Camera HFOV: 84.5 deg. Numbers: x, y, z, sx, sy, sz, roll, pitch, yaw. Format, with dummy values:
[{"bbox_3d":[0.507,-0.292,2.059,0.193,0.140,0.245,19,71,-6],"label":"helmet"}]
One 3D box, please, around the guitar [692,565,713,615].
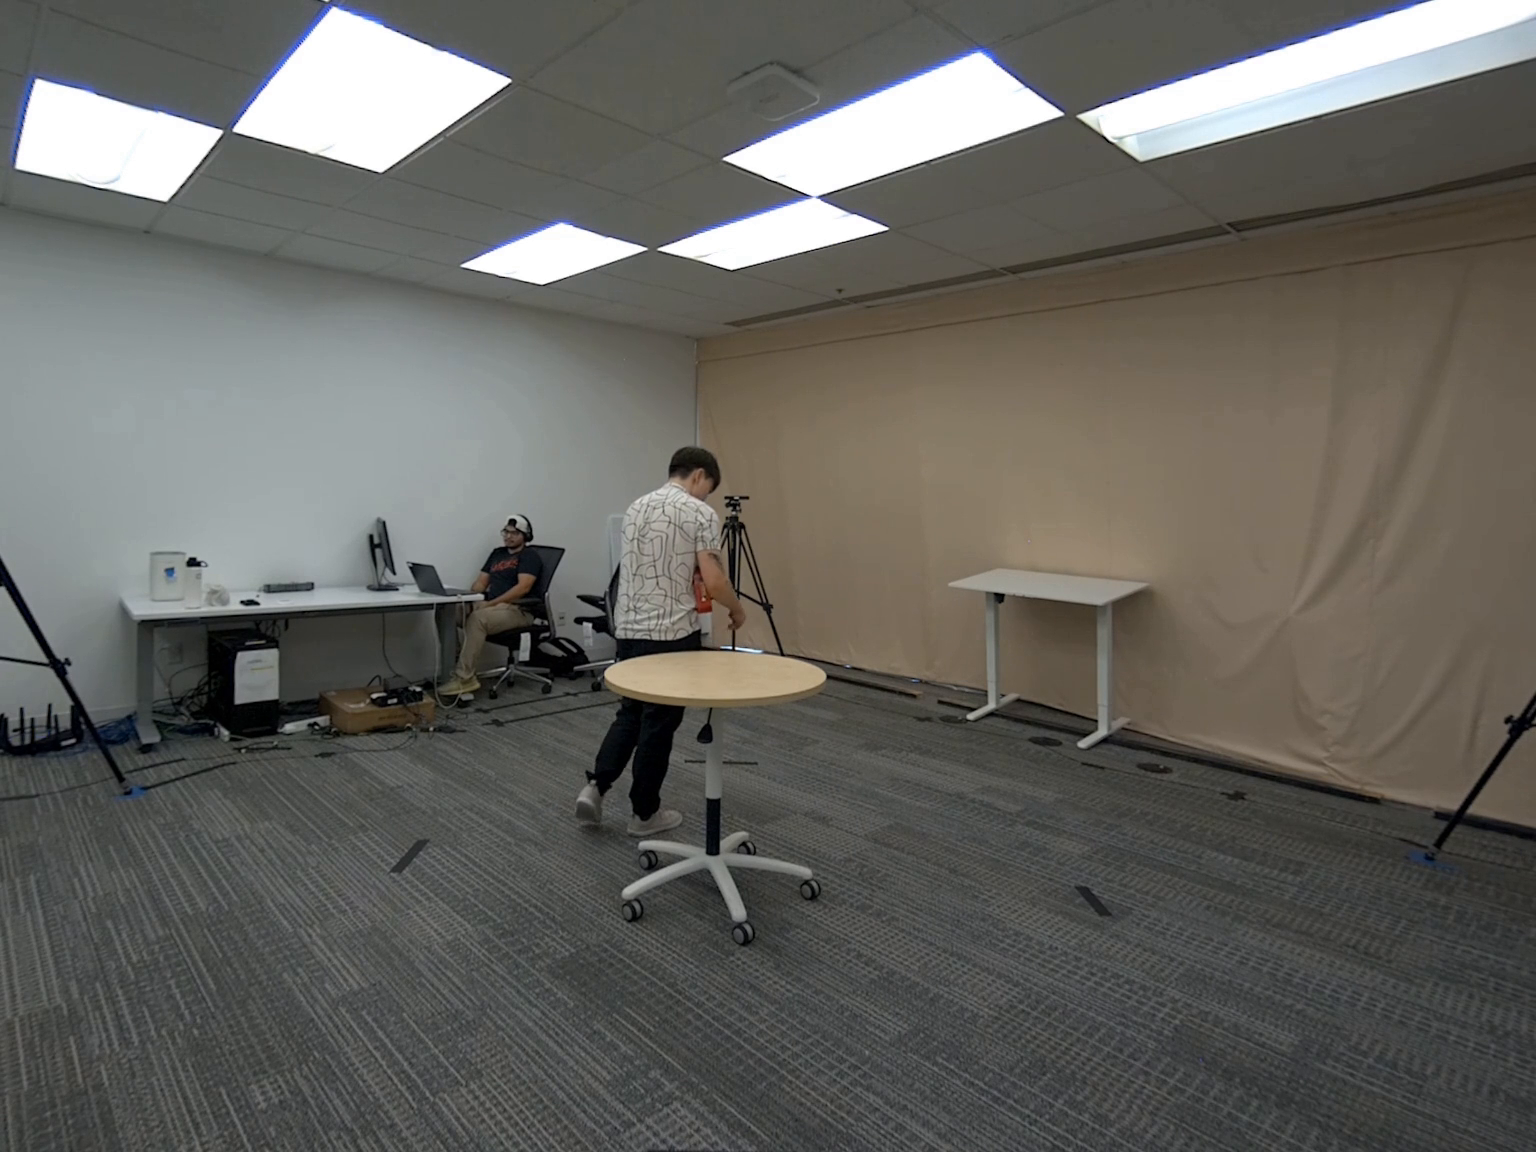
[{"bbox_3d":[-0.293,0.088,3.636,0.070,0.195,0.495,-9,-10,-6],"label":"guitar"}]
